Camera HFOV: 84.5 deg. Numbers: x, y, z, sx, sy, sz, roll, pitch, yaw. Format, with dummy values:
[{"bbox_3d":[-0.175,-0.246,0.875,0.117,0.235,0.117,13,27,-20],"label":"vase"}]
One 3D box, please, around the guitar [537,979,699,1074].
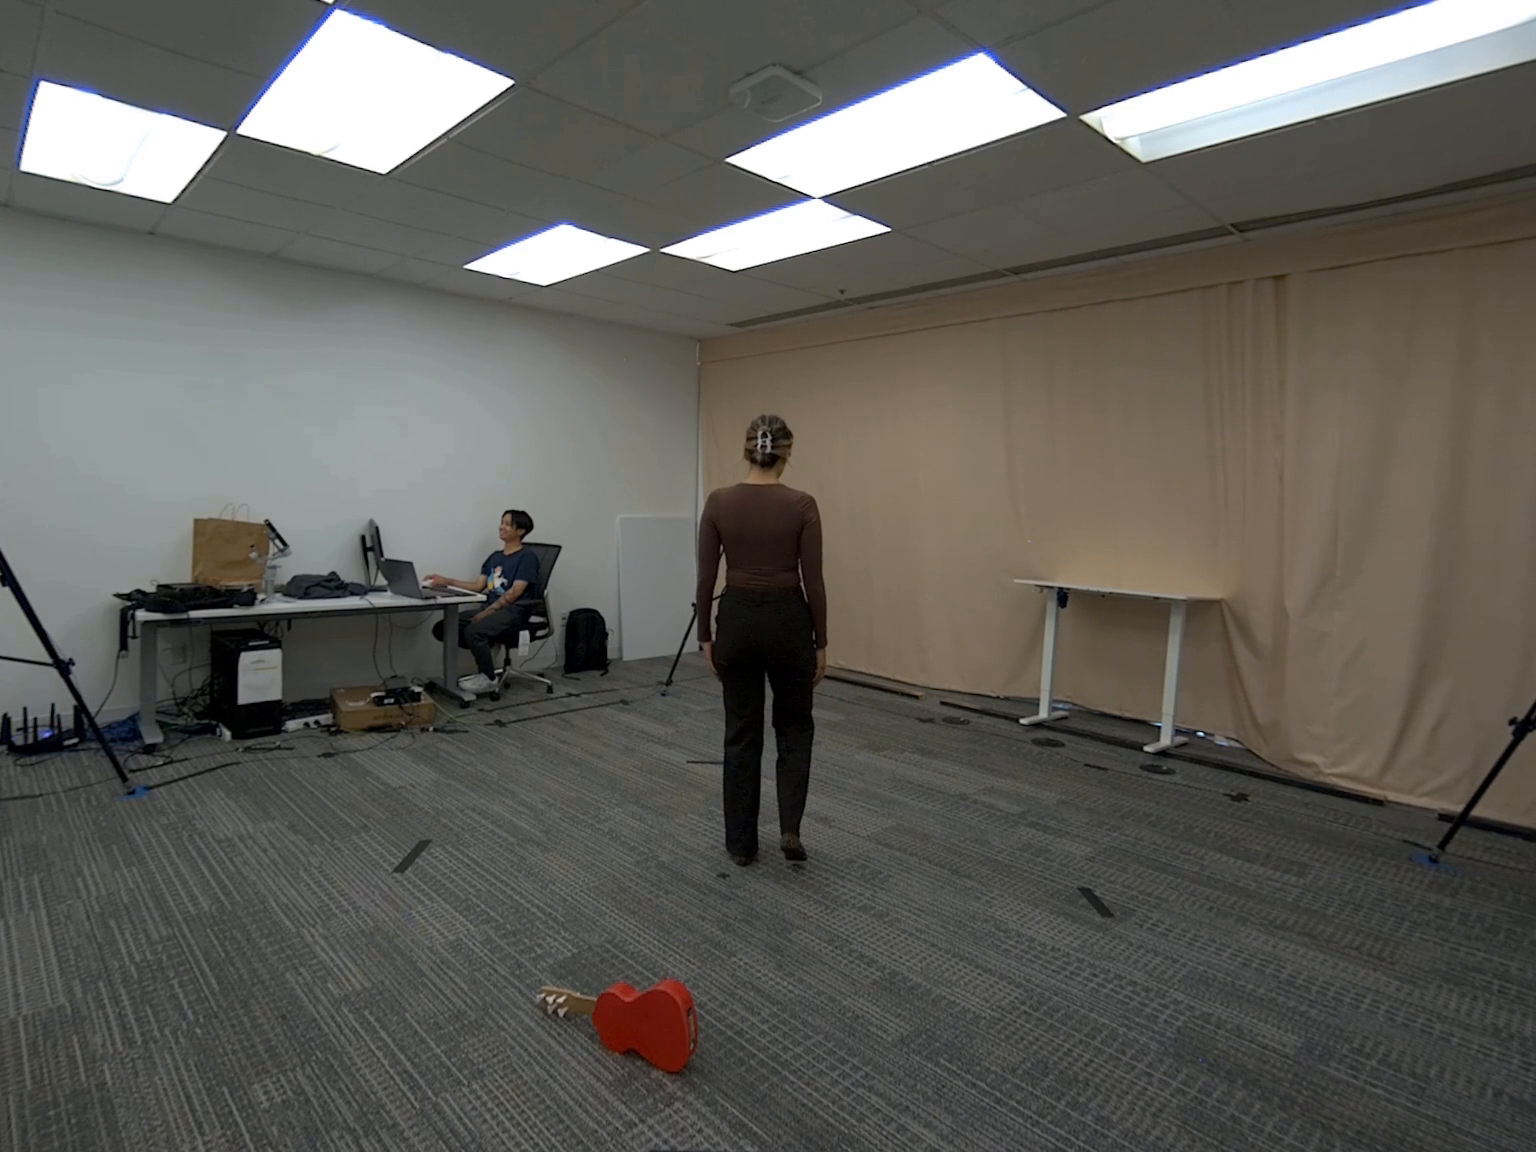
[{"bbox_3d":[-0.404,1.153,2.144,0.504,0.194,0.069,-17,-6,27],"label":"guitar"}]
